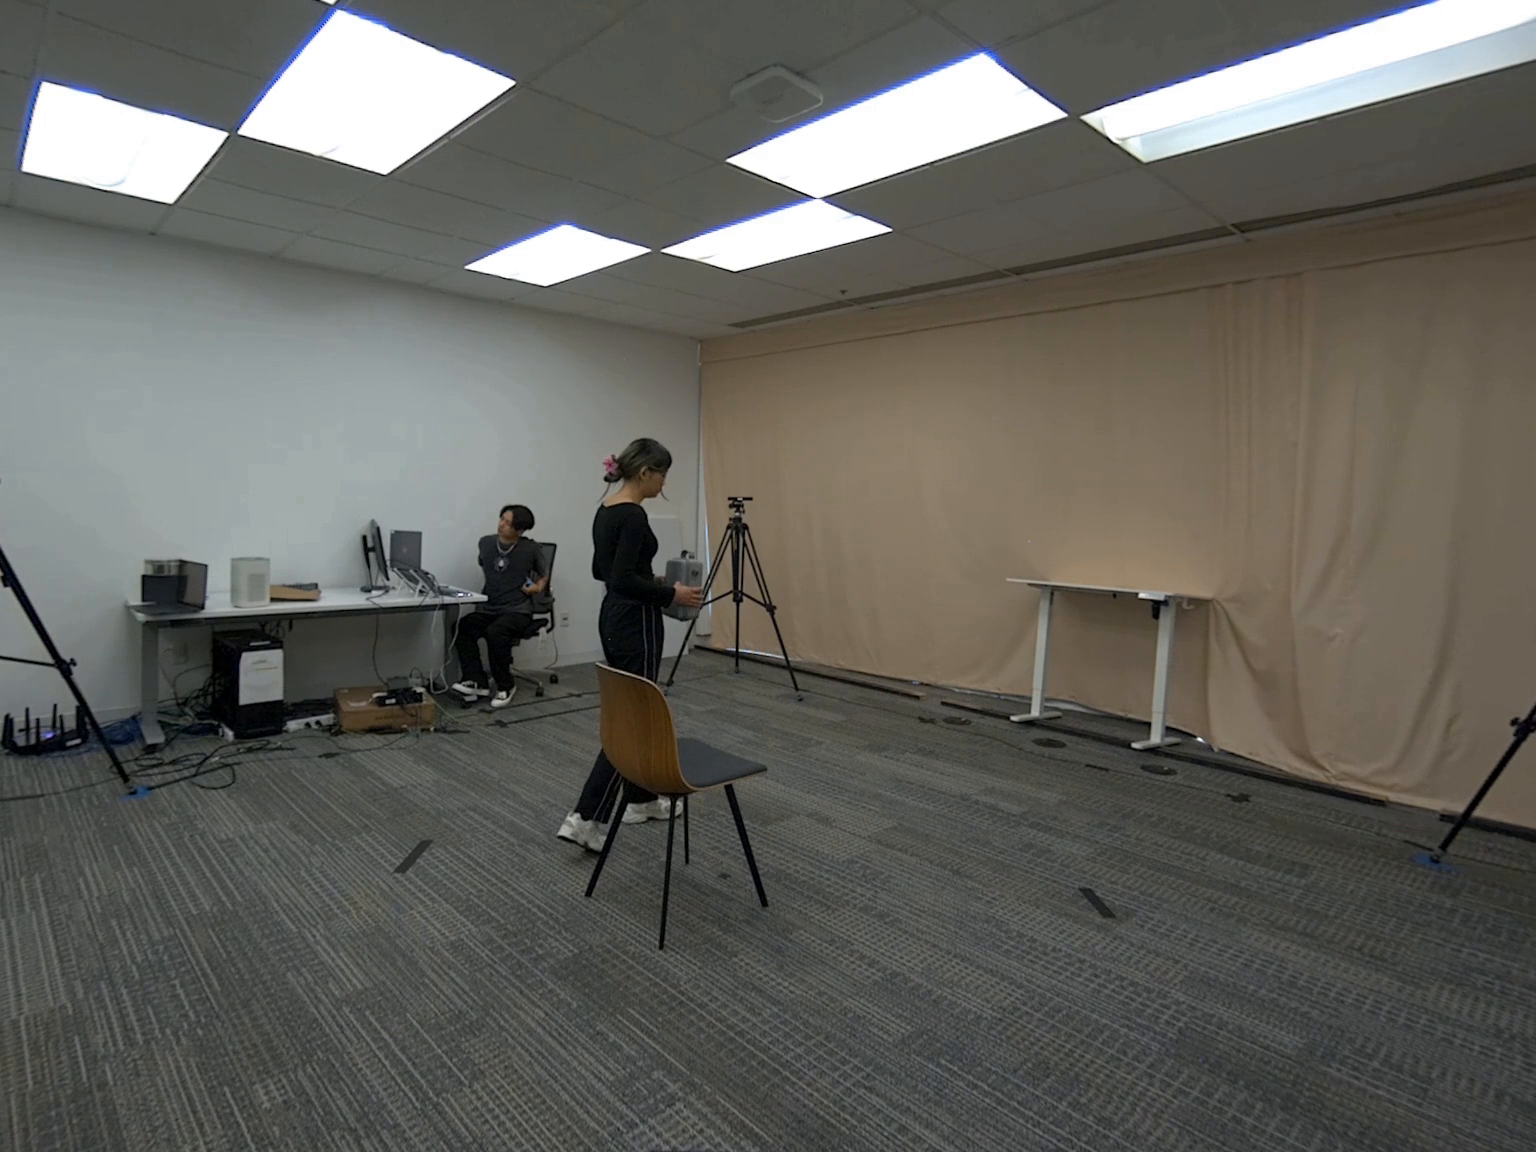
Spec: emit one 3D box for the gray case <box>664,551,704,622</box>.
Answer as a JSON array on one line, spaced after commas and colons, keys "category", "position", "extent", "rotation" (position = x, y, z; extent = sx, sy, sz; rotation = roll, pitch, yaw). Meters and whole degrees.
[{"category": "gray case", "position": [-0.374, 0.046, 3.575], "extent": [0.102, 0.261, 0.261], "rotation": [5, 0, -21]}]
